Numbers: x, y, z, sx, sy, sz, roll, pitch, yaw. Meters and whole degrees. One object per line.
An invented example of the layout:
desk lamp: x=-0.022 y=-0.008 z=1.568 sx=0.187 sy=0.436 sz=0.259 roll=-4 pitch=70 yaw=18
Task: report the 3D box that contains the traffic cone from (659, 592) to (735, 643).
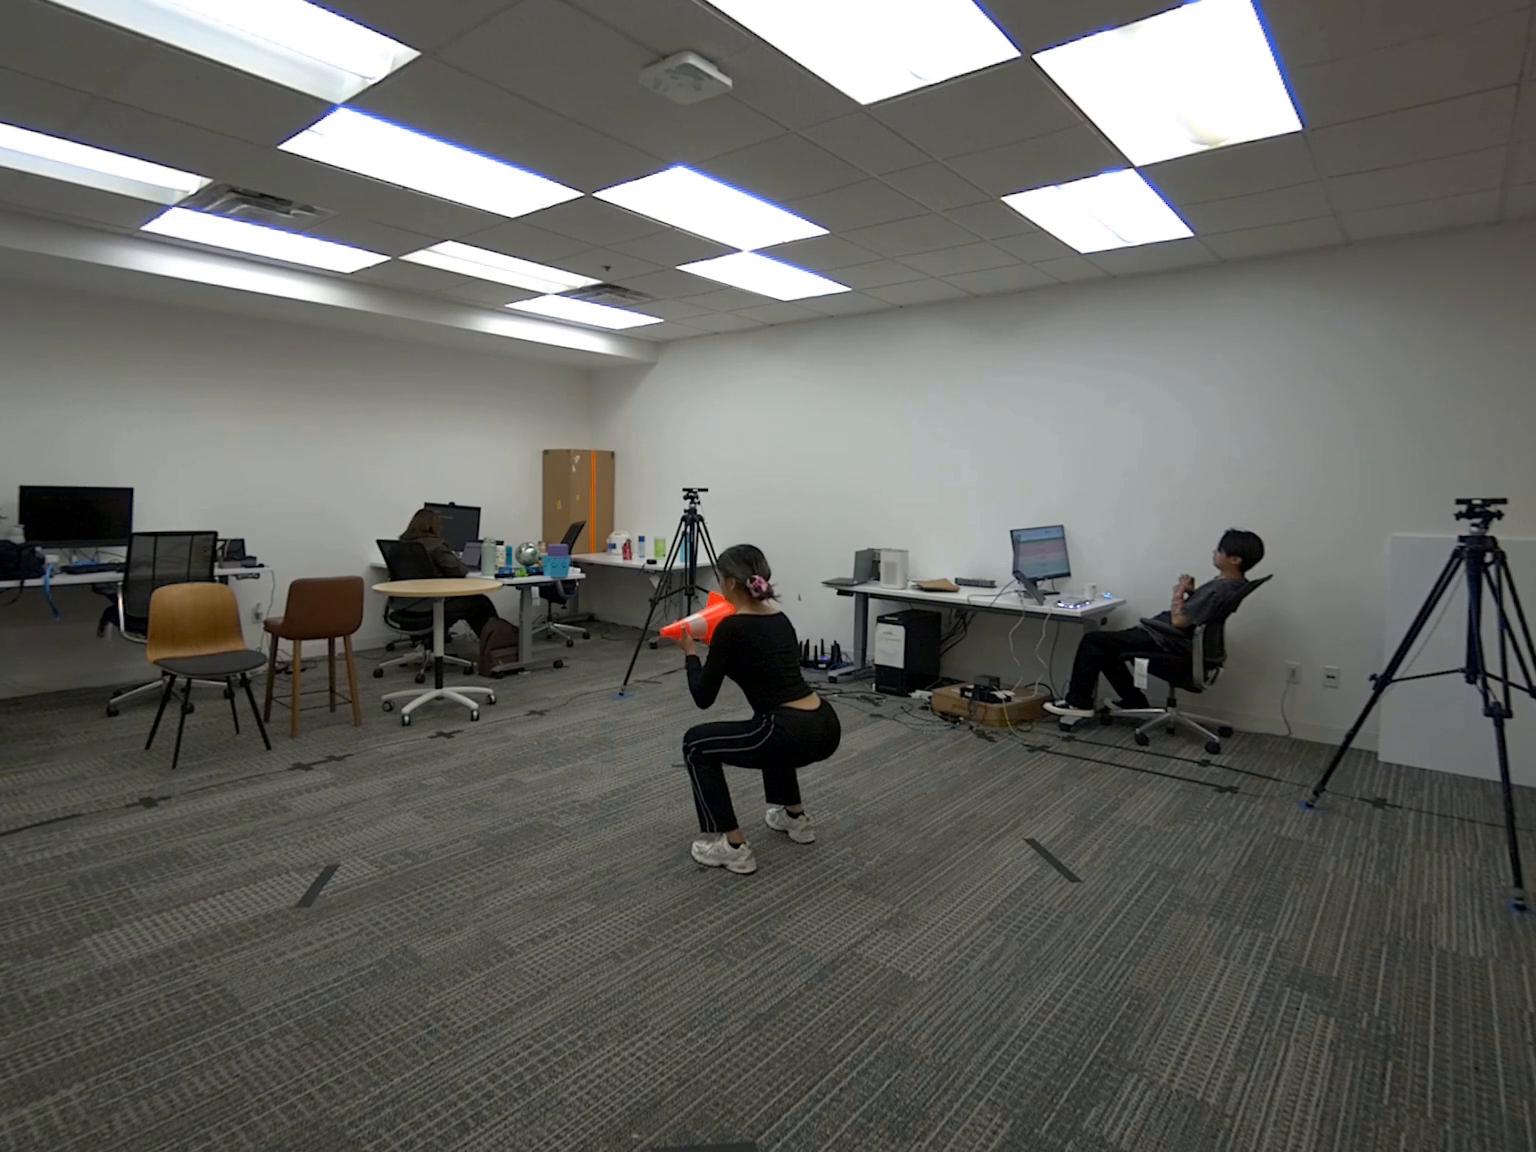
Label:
traffic cone: x=-0.309 y=0.198 z=3.469 sx=0.211 sy=0.203 sz=0.373 roll=26 pitch=20 yaw=32
